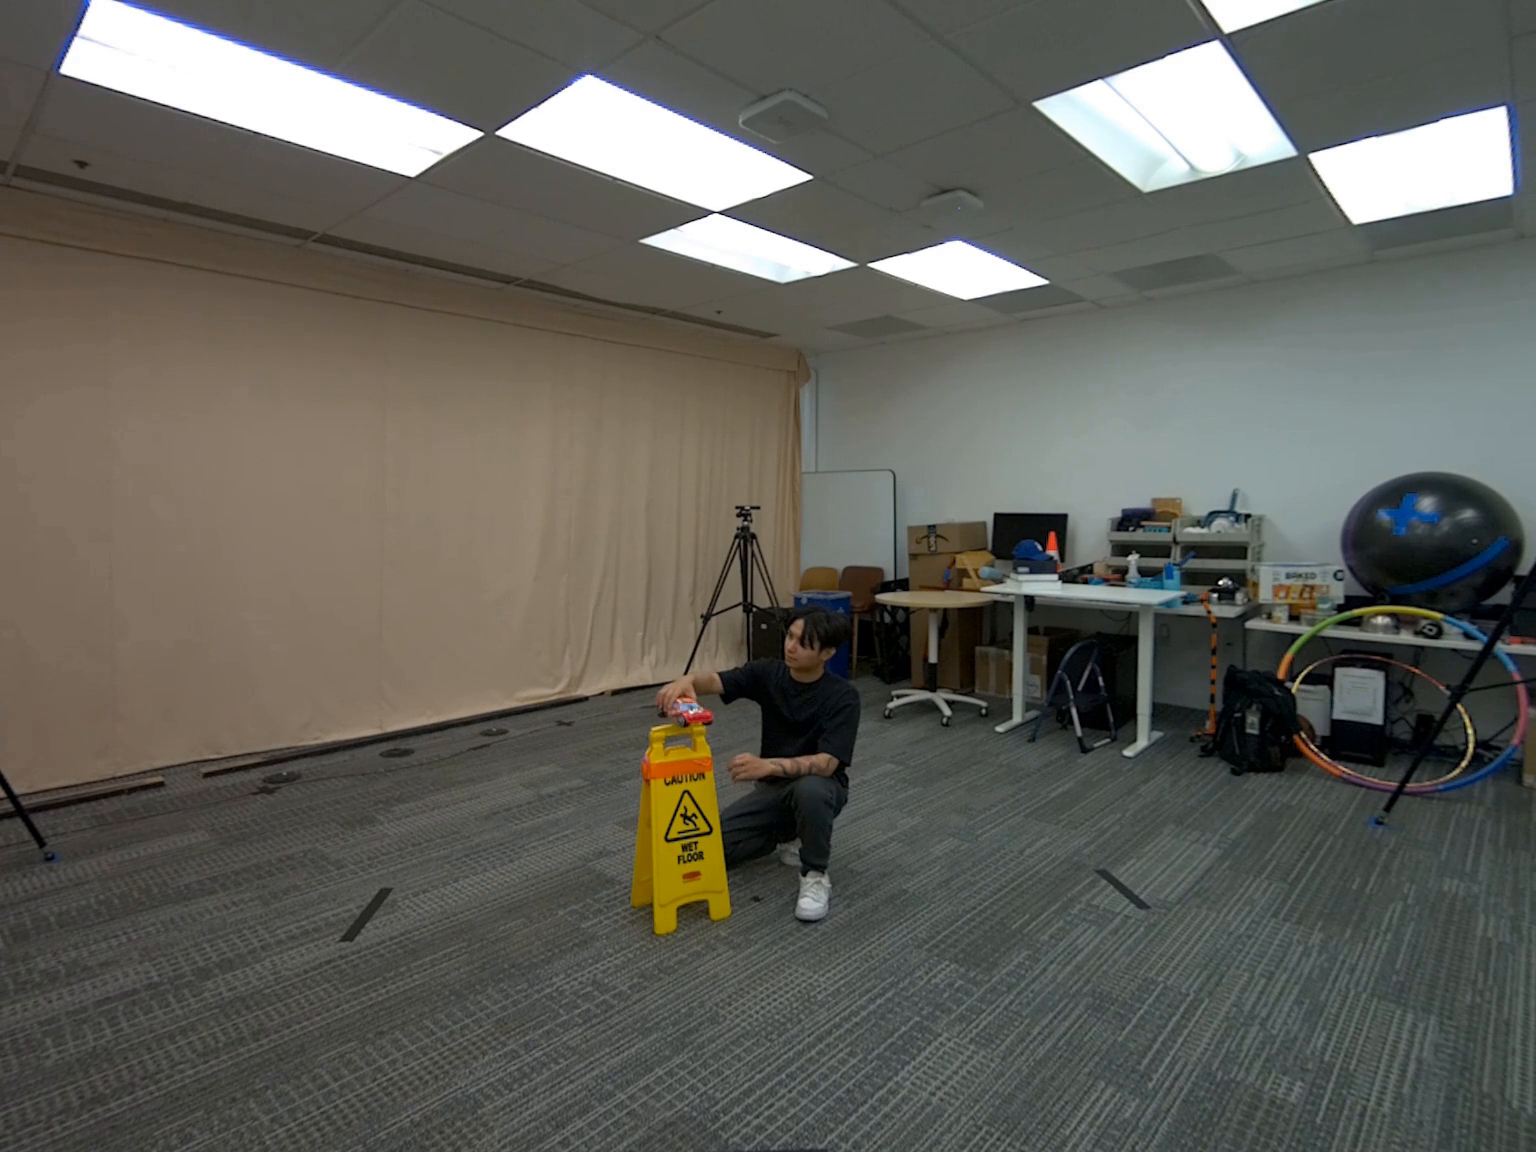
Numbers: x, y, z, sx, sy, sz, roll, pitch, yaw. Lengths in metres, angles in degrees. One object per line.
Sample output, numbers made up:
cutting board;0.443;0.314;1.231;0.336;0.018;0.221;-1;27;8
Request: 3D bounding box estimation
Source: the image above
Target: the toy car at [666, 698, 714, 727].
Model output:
toy car;-0.289;0.460;2.854;0.126;0.083;0.263;-1;13;-34
